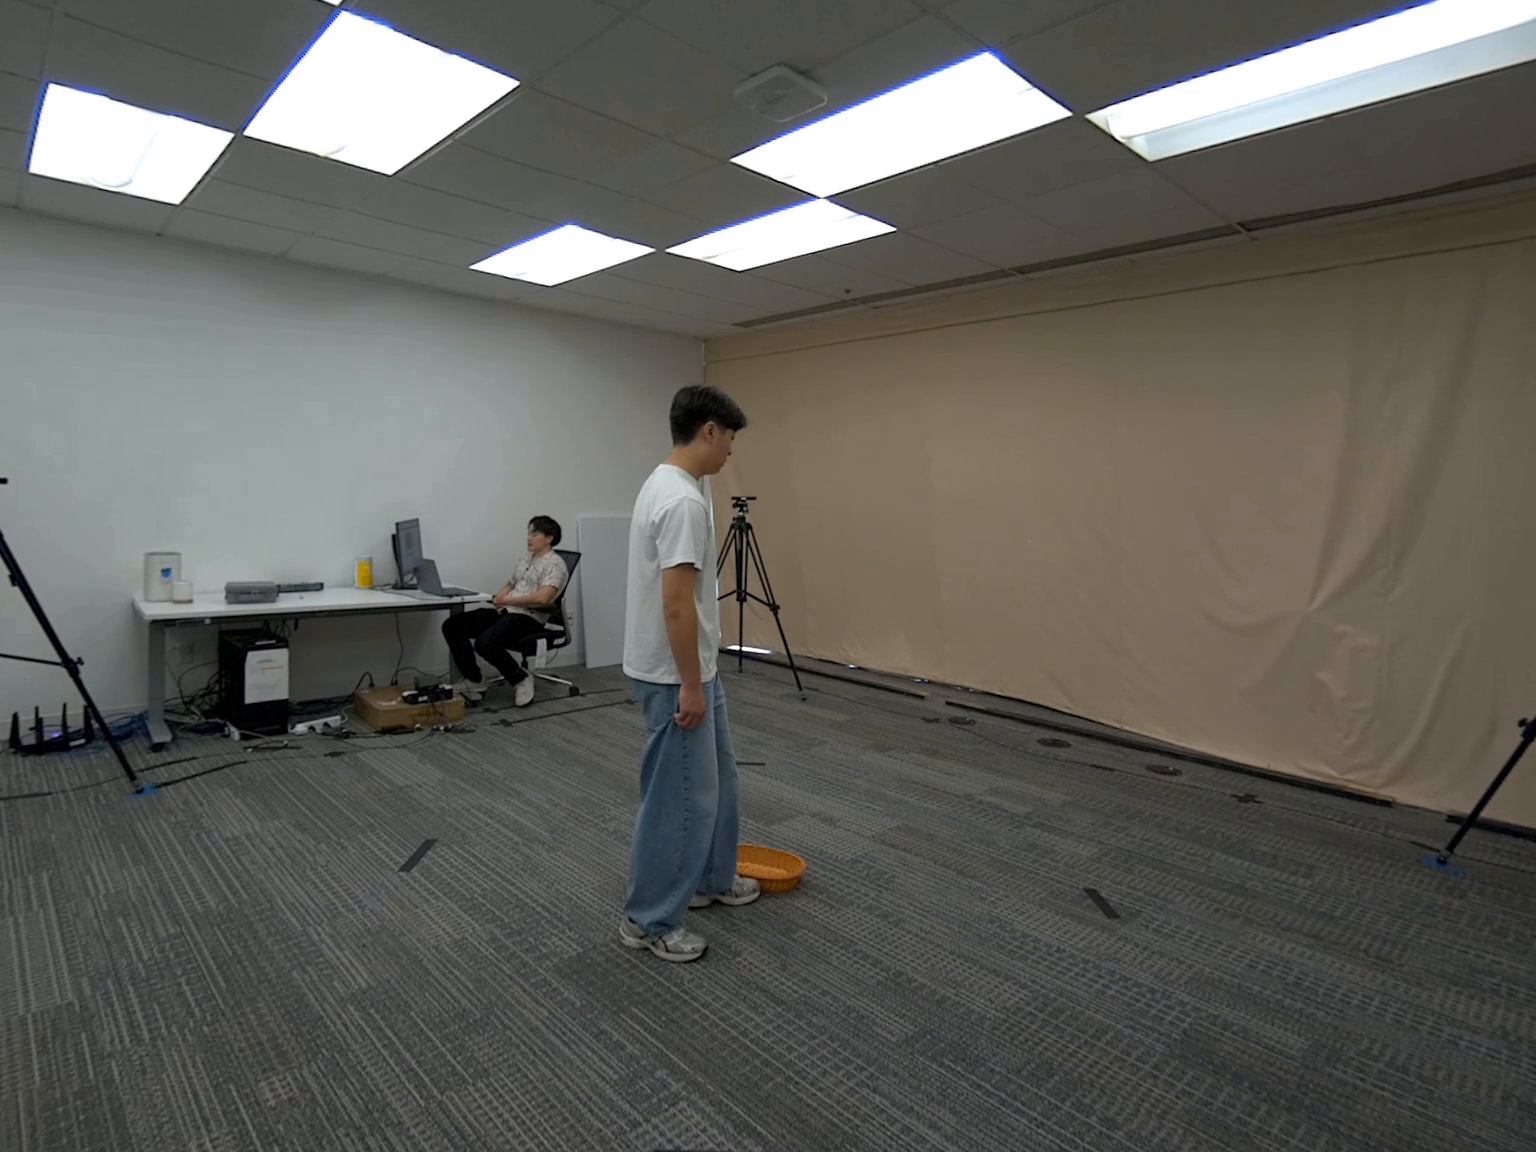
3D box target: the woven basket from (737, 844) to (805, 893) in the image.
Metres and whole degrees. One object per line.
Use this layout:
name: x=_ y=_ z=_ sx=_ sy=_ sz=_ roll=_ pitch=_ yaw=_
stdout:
woven basket: x=-0.038 y=1.072 z=3.068 sx=0.357 sy=0.073 sz=0.248 roll=4 pitch=5 yaw=24
